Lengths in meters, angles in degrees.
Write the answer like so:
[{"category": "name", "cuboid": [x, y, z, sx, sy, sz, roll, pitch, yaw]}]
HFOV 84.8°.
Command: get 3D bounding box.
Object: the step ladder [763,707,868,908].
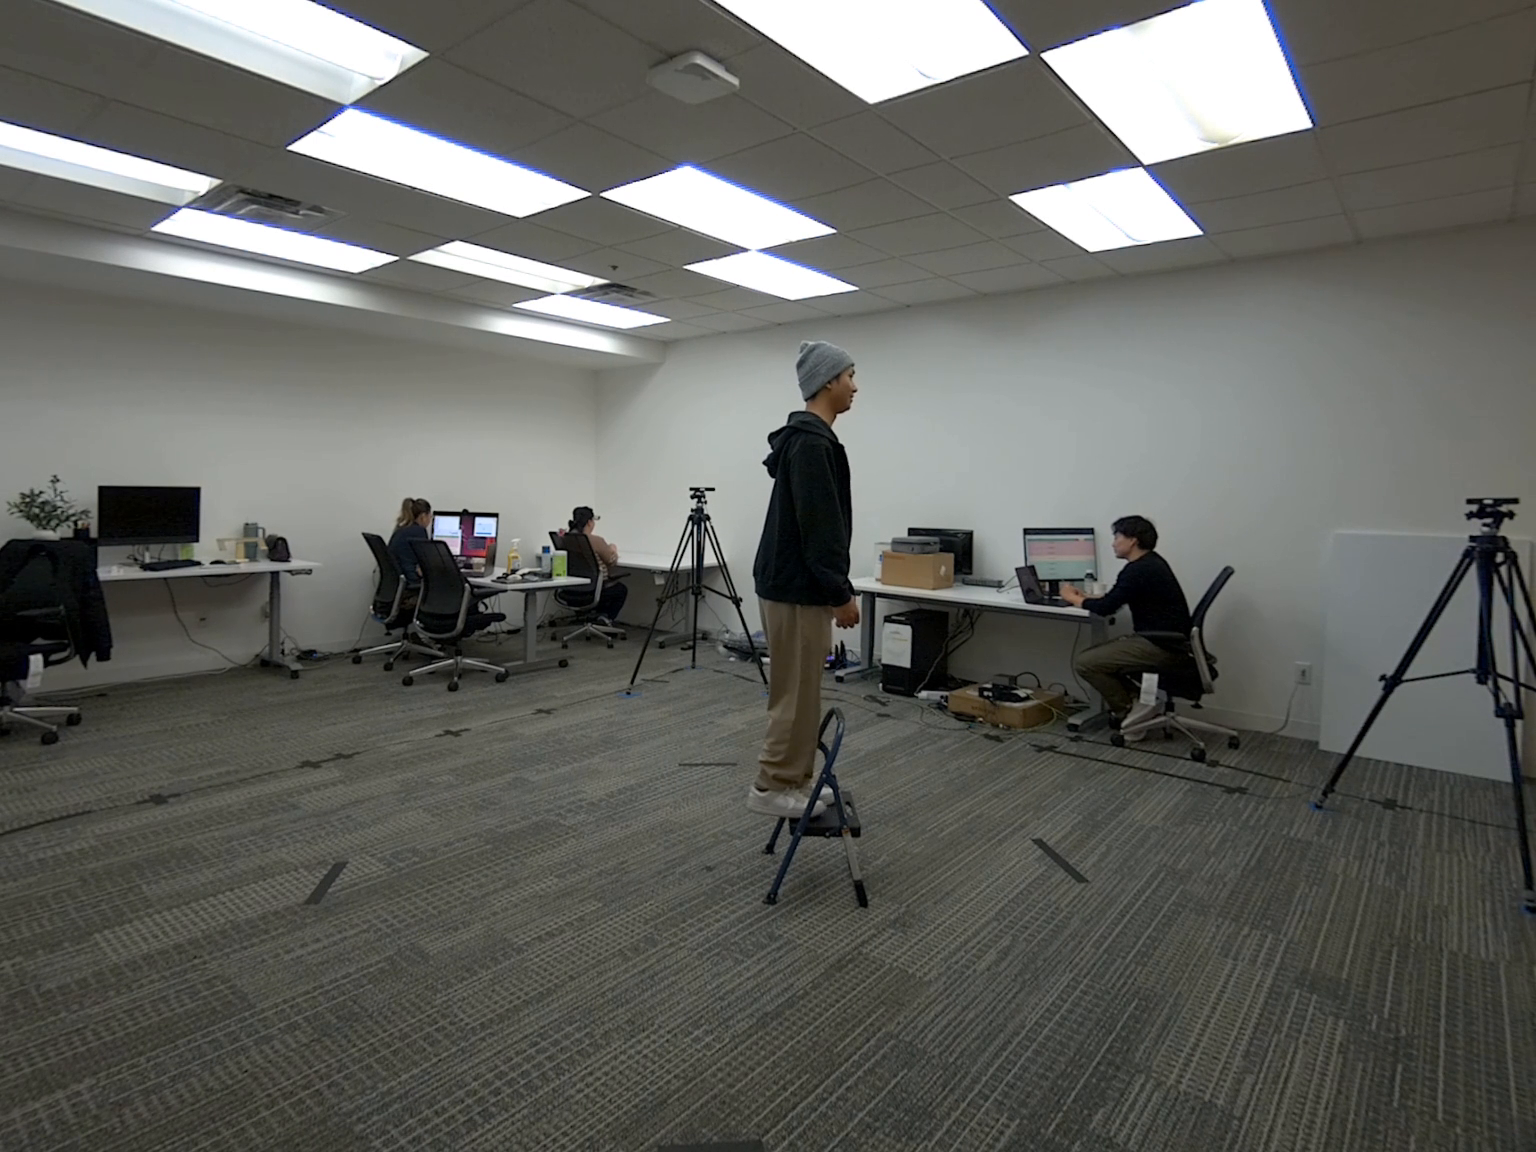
[{"category": "step ladder", "cuboid": [0.161, 0.784, 3.038, 0.350, 0.604, 0.432, 1, 4, 0]}]
